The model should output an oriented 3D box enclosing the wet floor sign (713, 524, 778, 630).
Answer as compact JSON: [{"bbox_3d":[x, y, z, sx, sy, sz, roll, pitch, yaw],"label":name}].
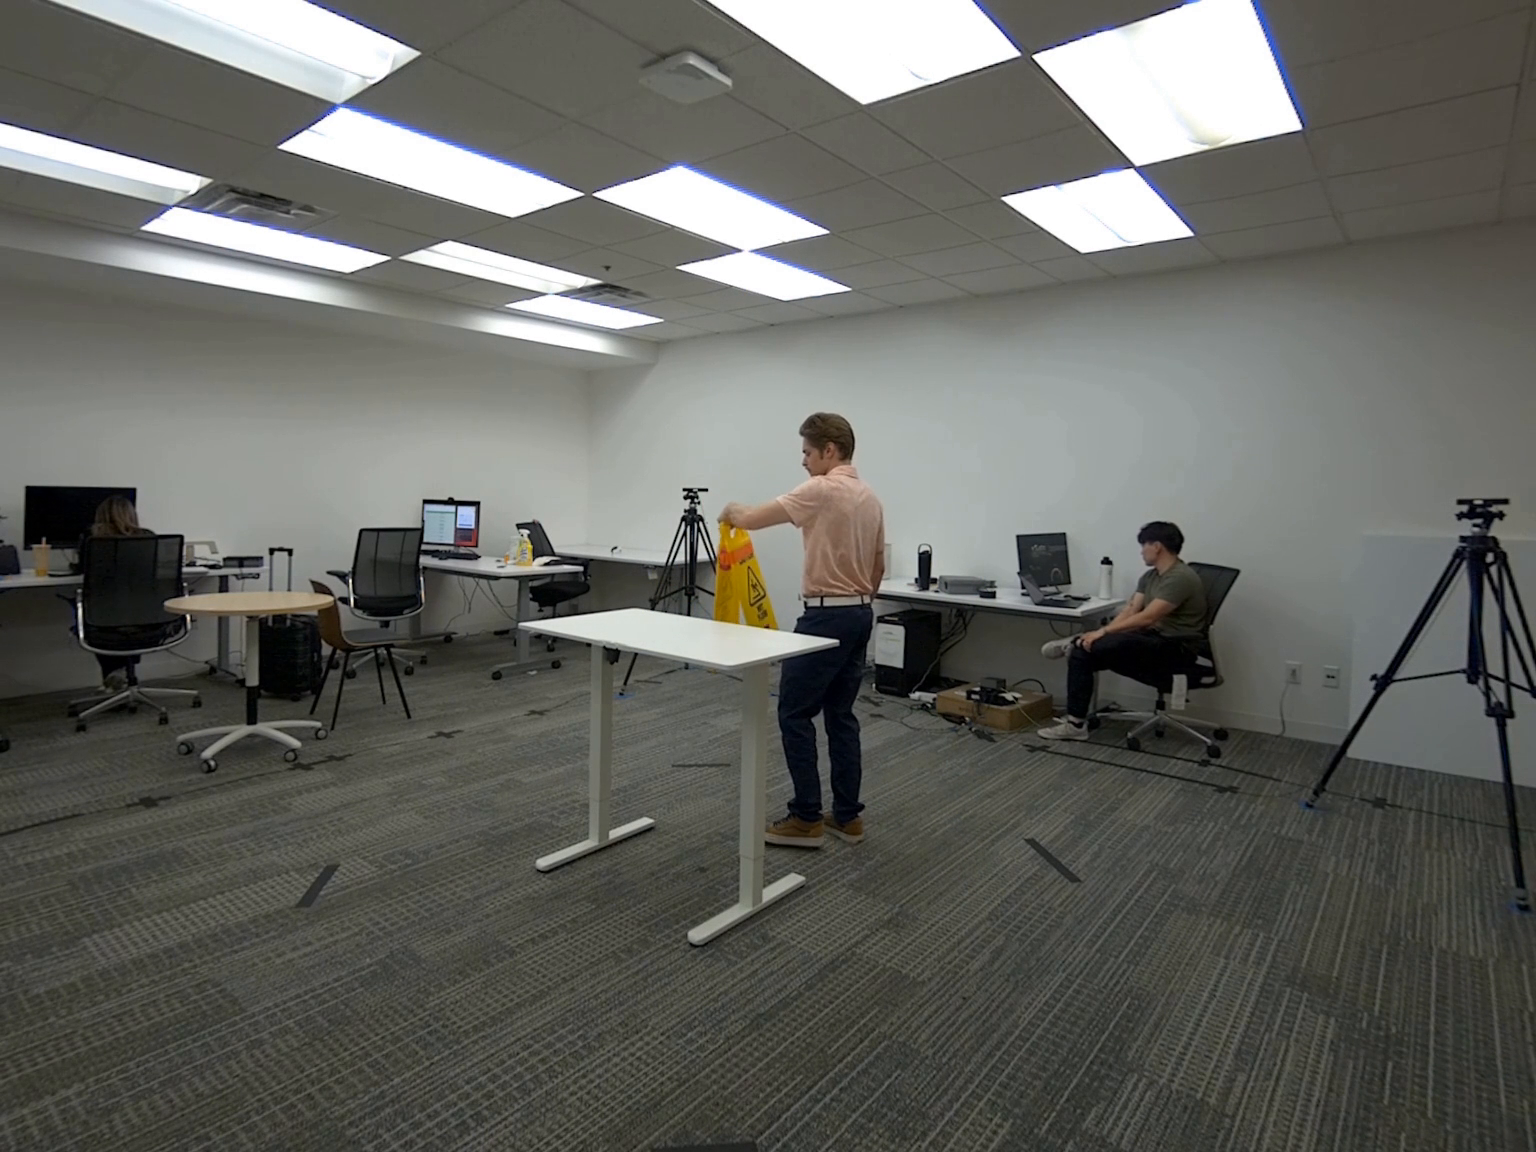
[{"bbox_3d":[-0.131,0.062,3.663,0.296,0.638,0.279,-2,13,24],"label":"wet floor sign"}]
